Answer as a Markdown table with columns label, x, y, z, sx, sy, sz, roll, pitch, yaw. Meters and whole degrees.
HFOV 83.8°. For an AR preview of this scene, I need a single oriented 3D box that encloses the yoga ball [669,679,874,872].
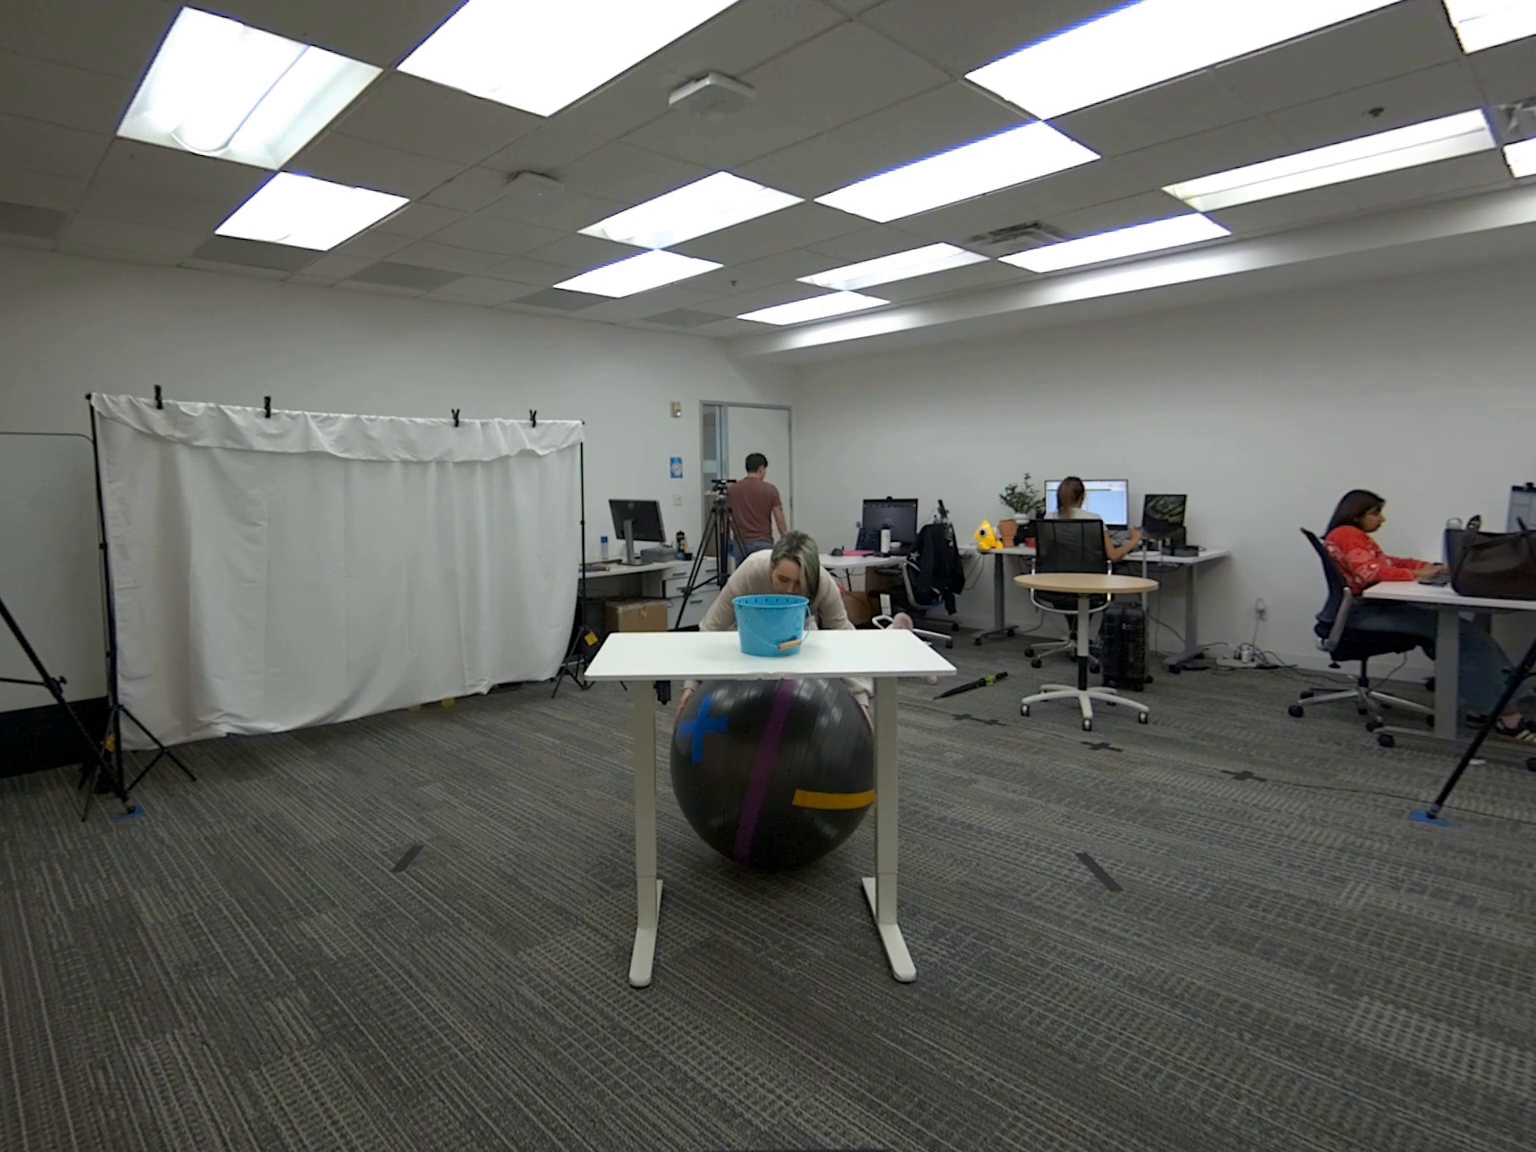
| label | x | y | z | sx | sy | sz | roll | pitch | yaw |
| --- | --- | --- | --- | --- | --- | --- | --- | --- | --- |
| yoga ball | 0.016 | 0.674 | 3.133 | 0.757 | 0.755 | 0.762 | -1 | 5 | -2 |
